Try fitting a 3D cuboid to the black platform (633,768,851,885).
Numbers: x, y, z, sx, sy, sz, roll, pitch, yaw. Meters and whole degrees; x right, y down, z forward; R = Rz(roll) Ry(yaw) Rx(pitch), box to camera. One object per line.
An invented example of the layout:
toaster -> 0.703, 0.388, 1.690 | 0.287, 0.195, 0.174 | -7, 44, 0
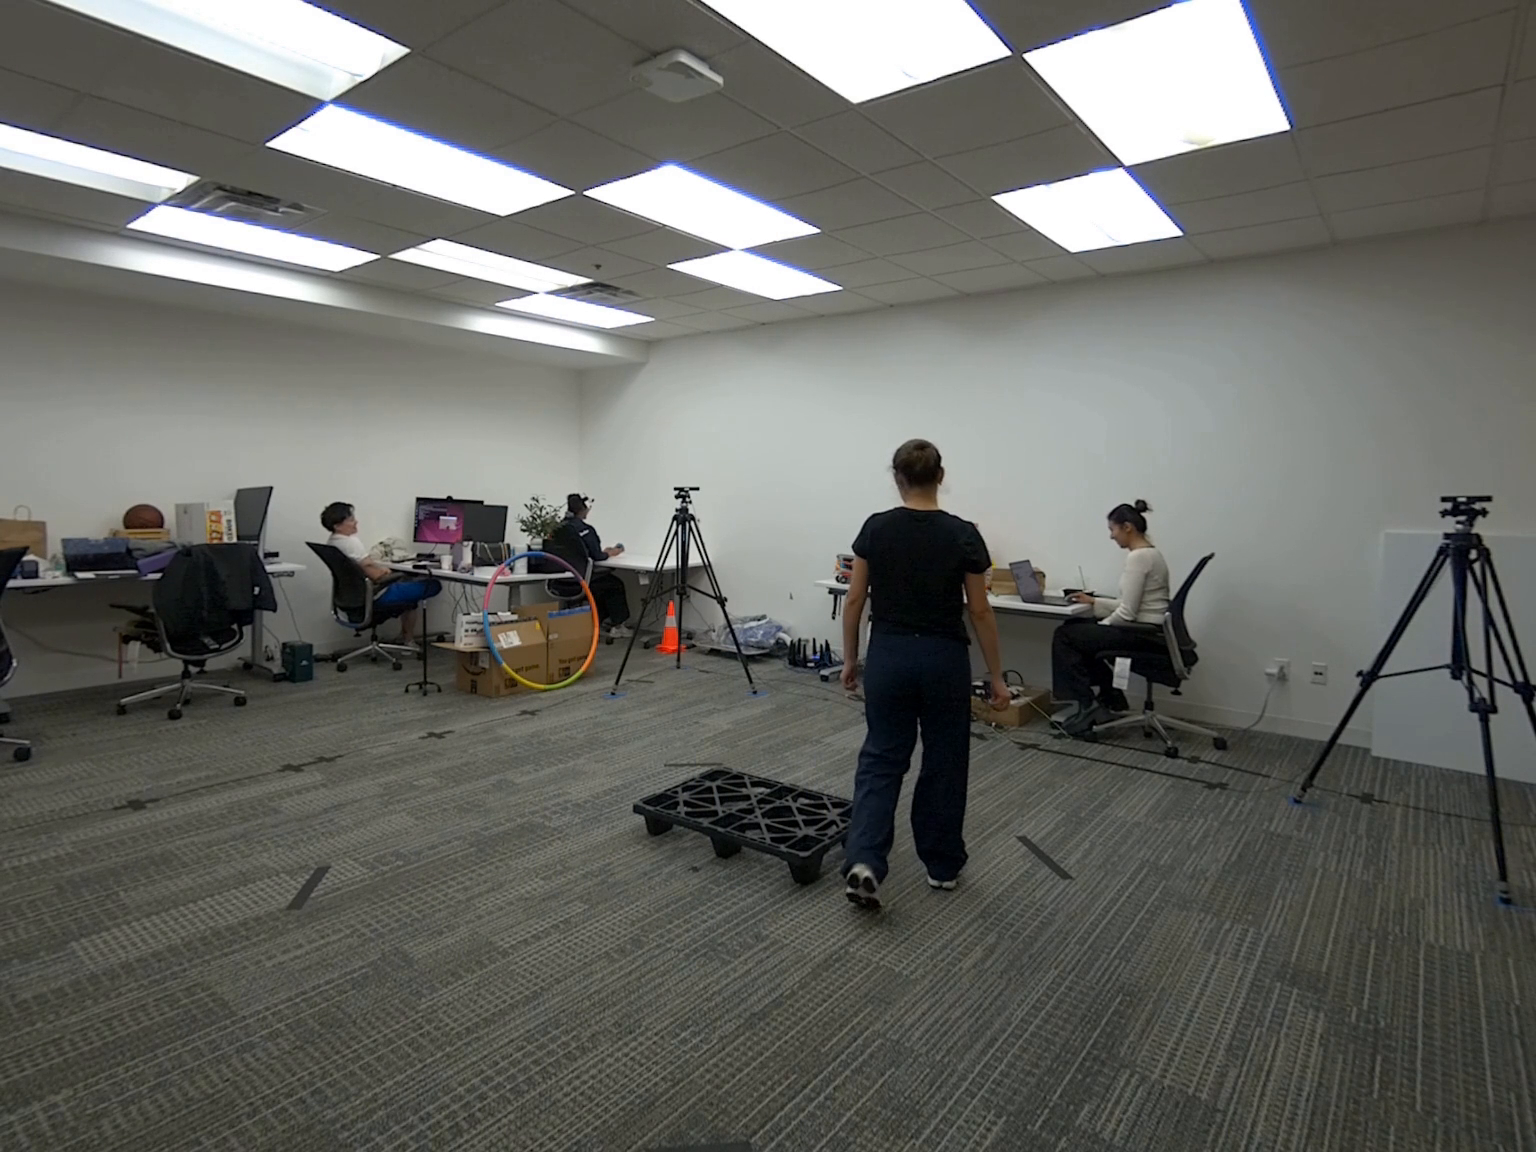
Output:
black platform -> -0.035, 0.975, 3.403 | 0.832, 0.143, 0.588 | 5, 6, 35
